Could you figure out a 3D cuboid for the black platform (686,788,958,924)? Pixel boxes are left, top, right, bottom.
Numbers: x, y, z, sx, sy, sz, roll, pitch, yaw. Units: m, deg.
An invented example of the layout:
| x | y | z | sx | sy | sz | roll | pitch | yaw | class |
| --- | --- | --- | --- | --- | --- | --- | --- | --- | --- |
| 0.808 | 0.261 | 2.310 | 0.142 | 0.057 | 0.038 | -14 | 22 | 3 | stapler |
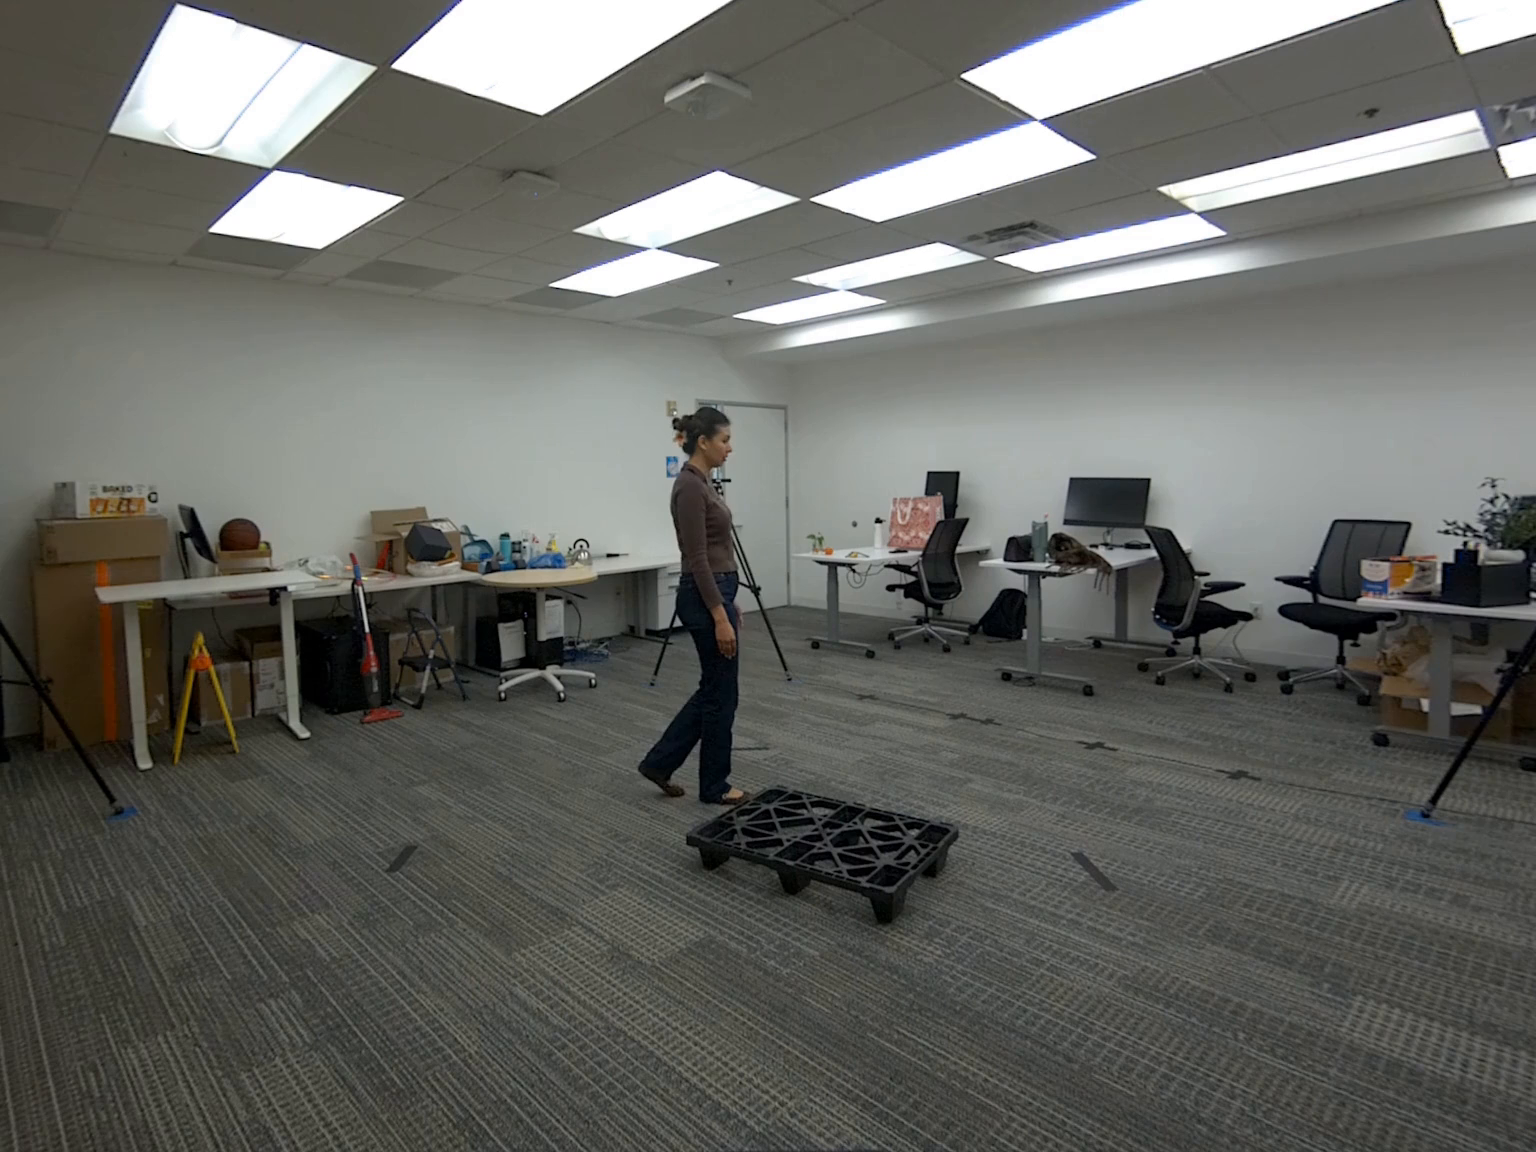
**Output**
| x | y | z | sx | sy | sz | roll | pitch | yaw | class |
| --- | --- | --- | --- | --- | --- | --- | --- | --- | --- |
| 0.201 | 0.977 | 3.059 | 0.828 | 0.142 | 0.591 | 3 | 8 | 34 | black platform |
